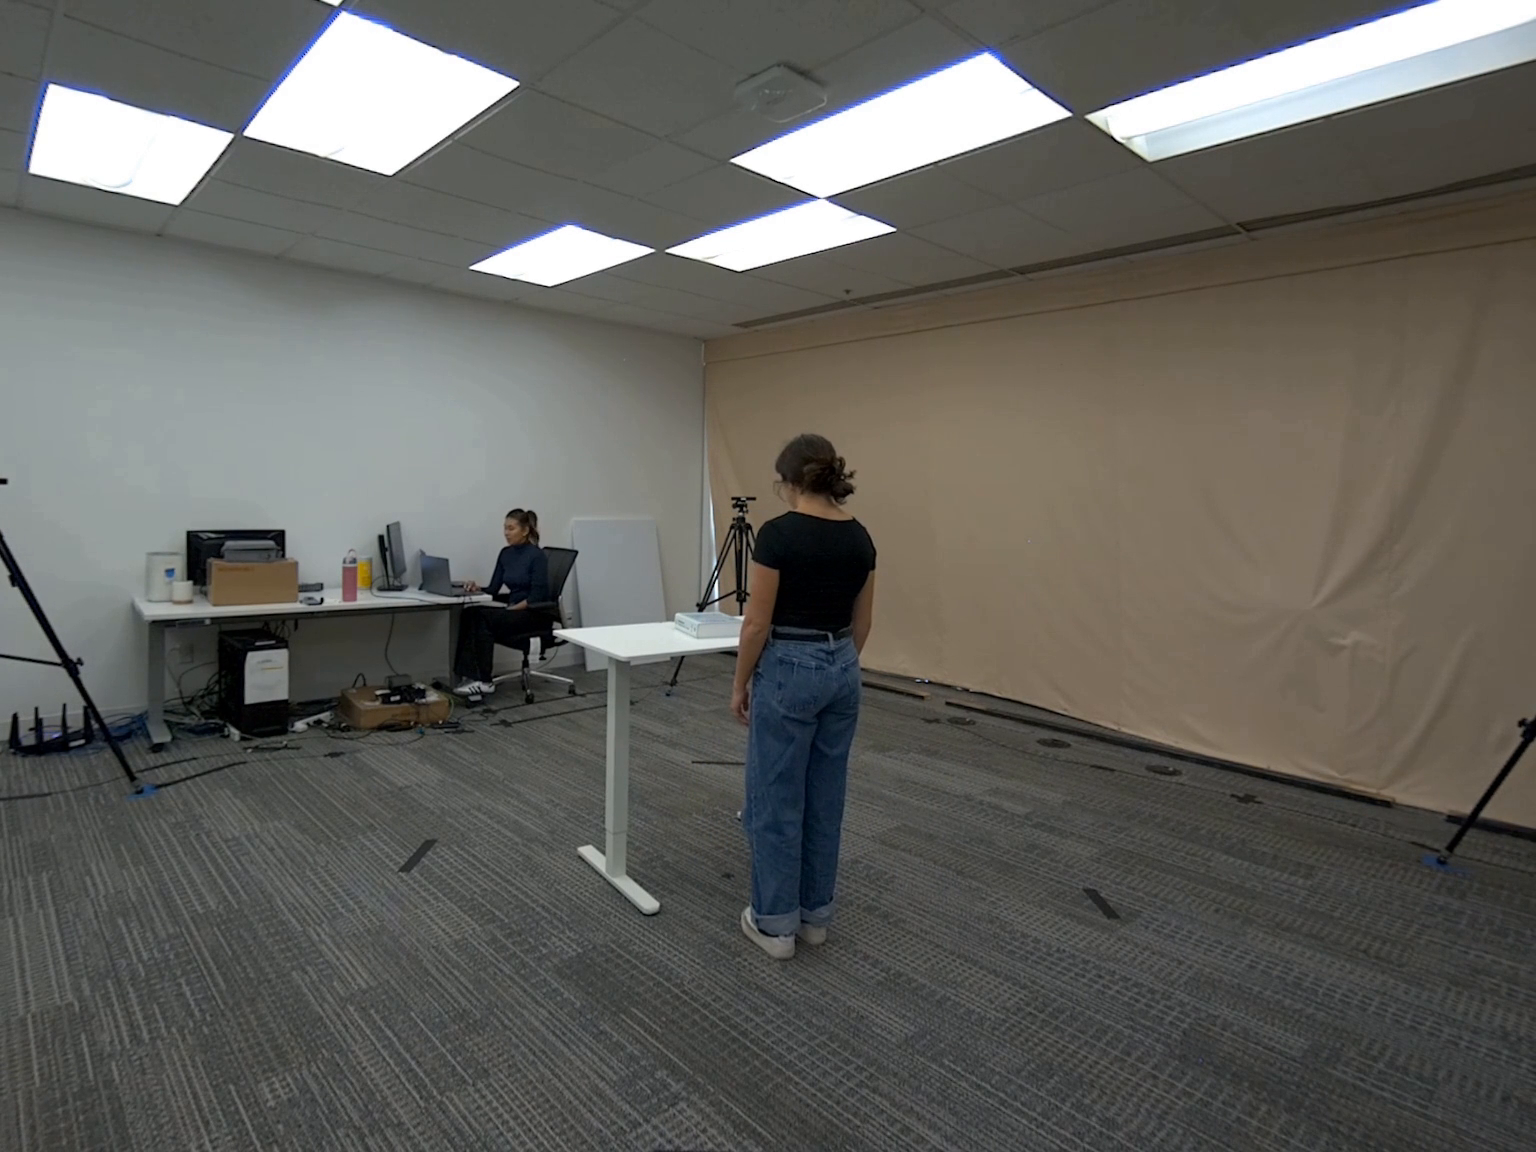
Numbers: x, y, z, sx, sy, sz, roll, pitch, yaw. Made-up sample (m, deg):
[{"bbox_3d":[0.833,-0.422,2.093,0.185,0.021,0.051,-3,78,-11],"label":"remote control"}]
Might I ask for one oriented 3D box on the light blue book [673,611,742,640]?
[{"bbox_3d":[-0.229,0.183,3.215,0.188,0.059,0.266,-1,6,-24],"label":"light blue book"}]
